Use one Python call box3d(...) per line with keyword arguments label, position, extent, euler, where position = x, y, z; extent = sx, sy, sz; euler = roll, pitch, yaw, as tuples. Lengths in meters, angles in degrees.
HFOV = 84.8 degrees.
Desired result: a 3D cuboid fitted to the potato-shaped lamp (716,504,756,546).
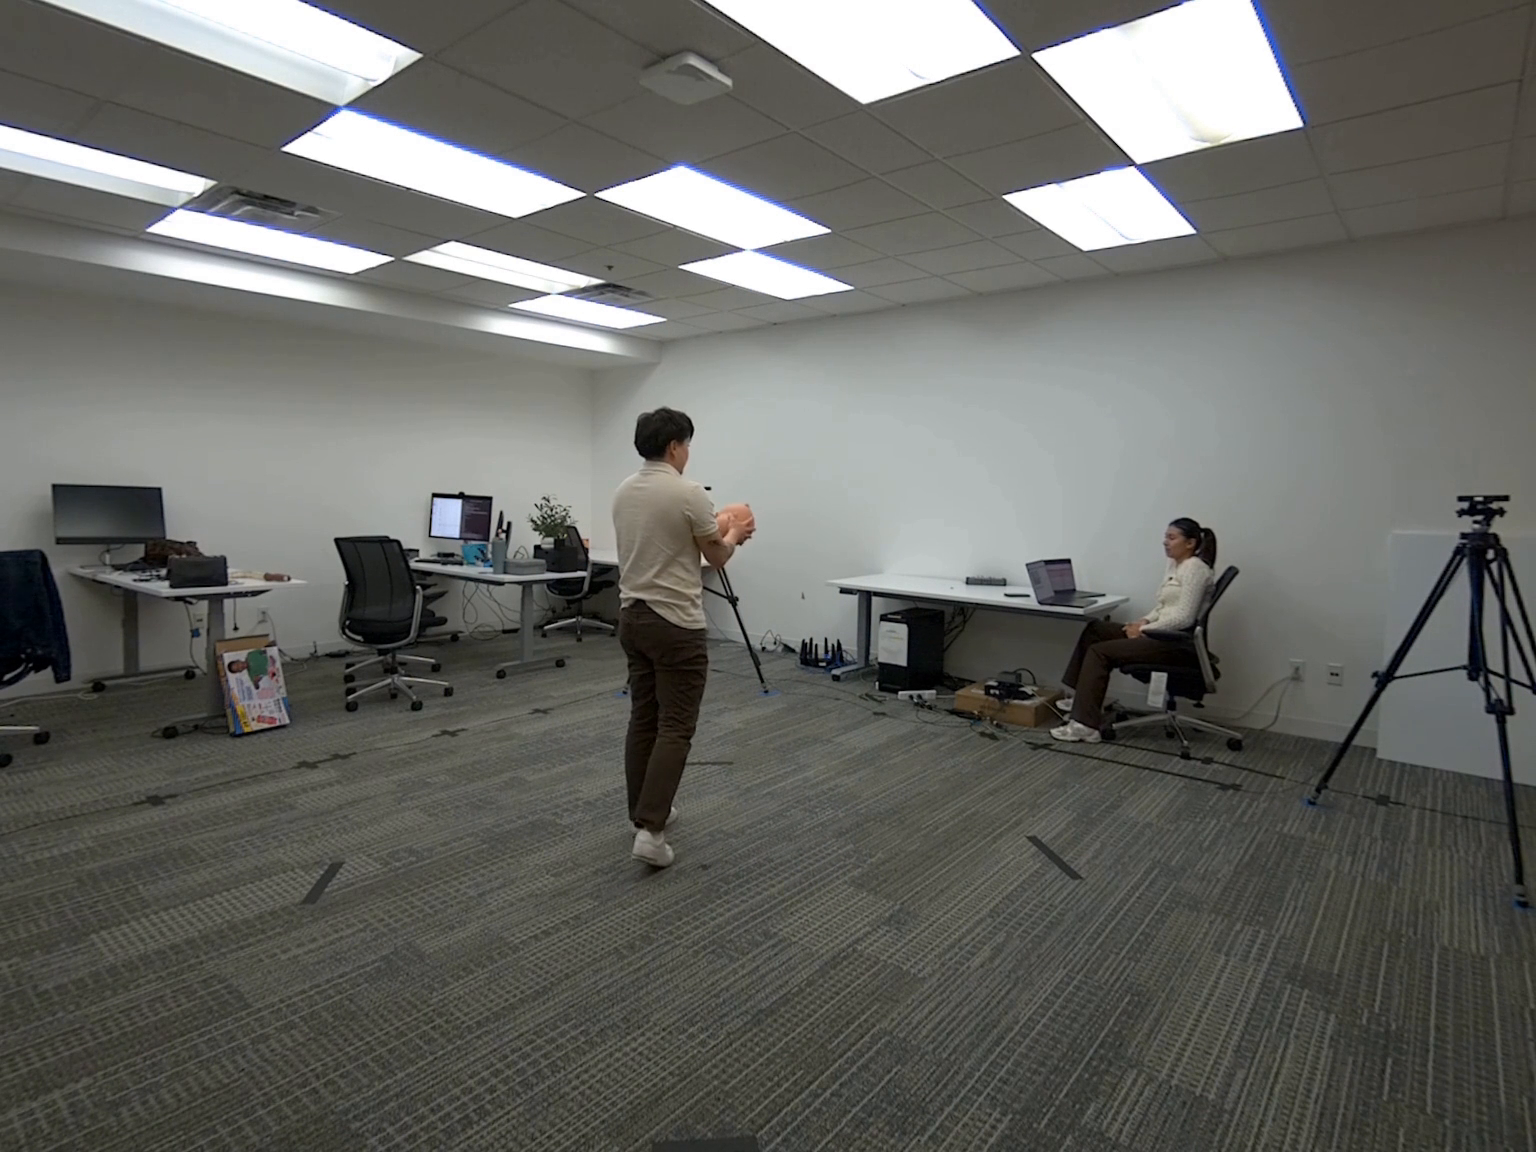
box3d(label="potato-shaped lamp", position=(-0.172, -0.214, 3.651), extent=(0.169, 0.169, 0.195), euler=(-4, 17, 42))
